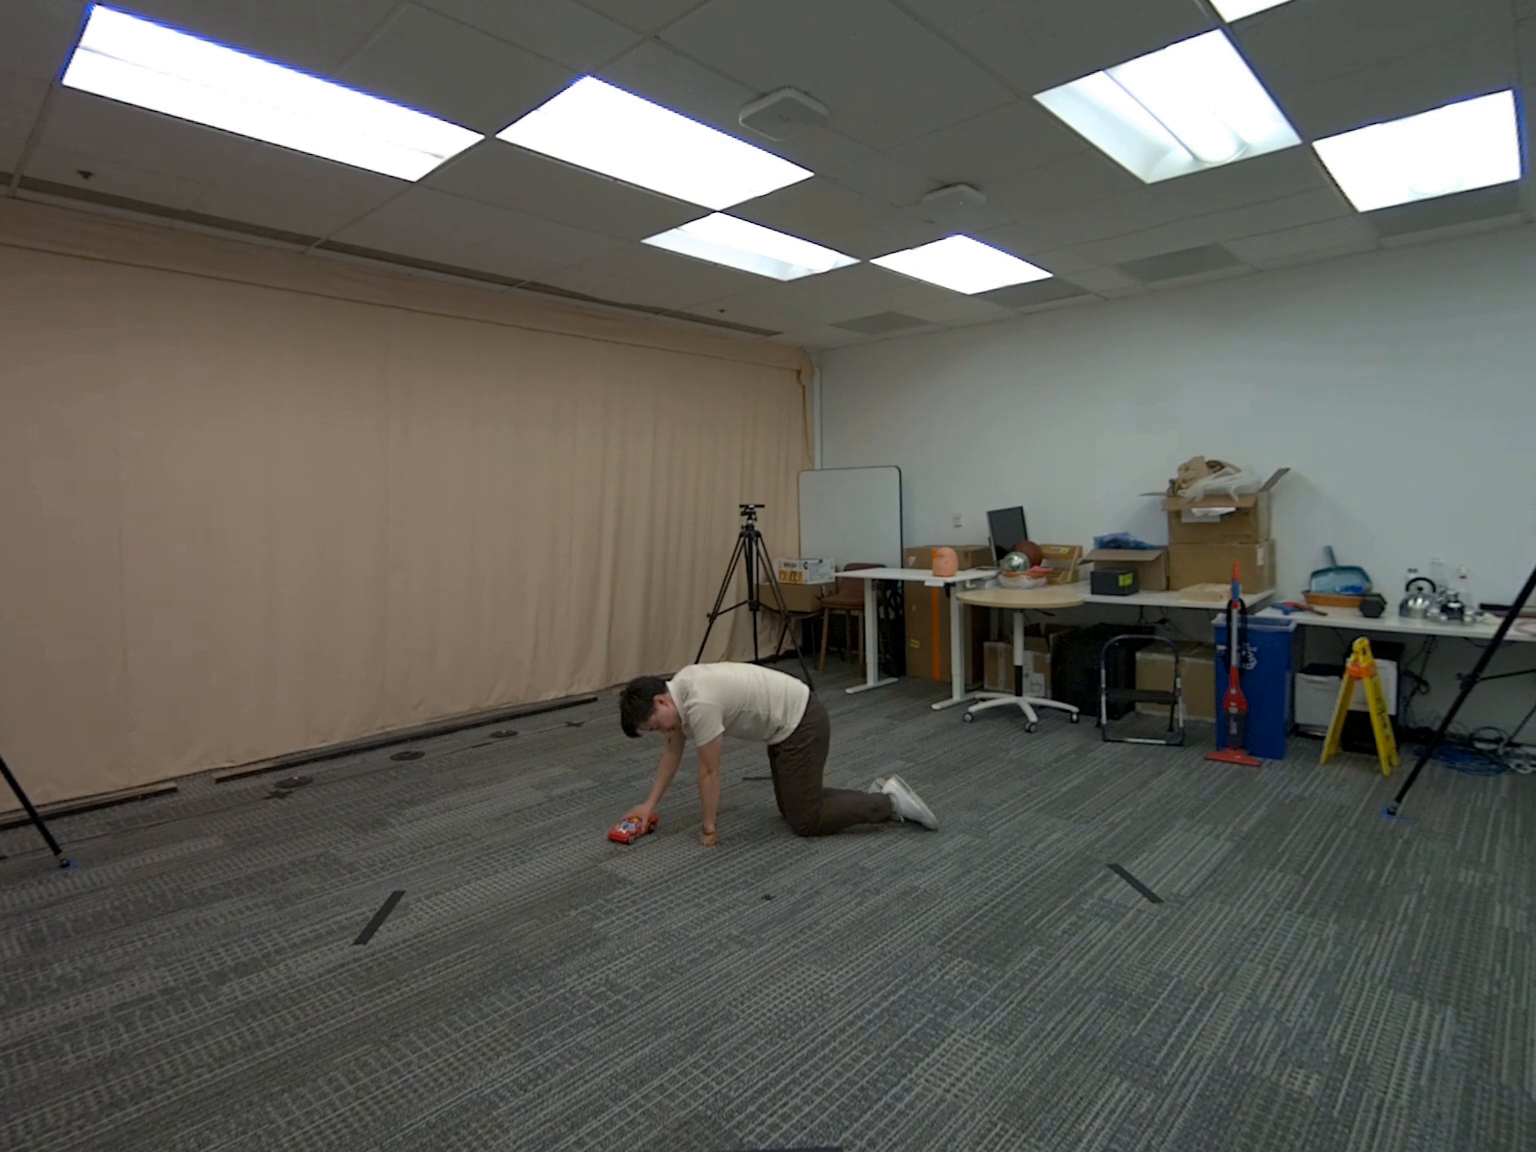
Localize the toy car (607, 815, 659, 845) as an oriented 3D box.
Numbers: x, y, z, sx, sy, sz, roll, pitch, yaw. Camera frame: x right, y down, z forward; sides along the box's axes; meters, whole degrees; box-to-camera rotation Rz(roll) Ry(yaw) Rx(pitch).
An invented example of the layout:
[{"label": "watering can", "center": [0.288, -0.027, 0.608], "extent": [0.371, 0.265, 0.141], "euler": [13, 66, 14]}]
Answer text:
[{"label": "toy car", "center": [-0.562, 1.075, 3.601], "extent": [0.134, 0.082, 0.249], "euler": [1, 15, 30]}]
